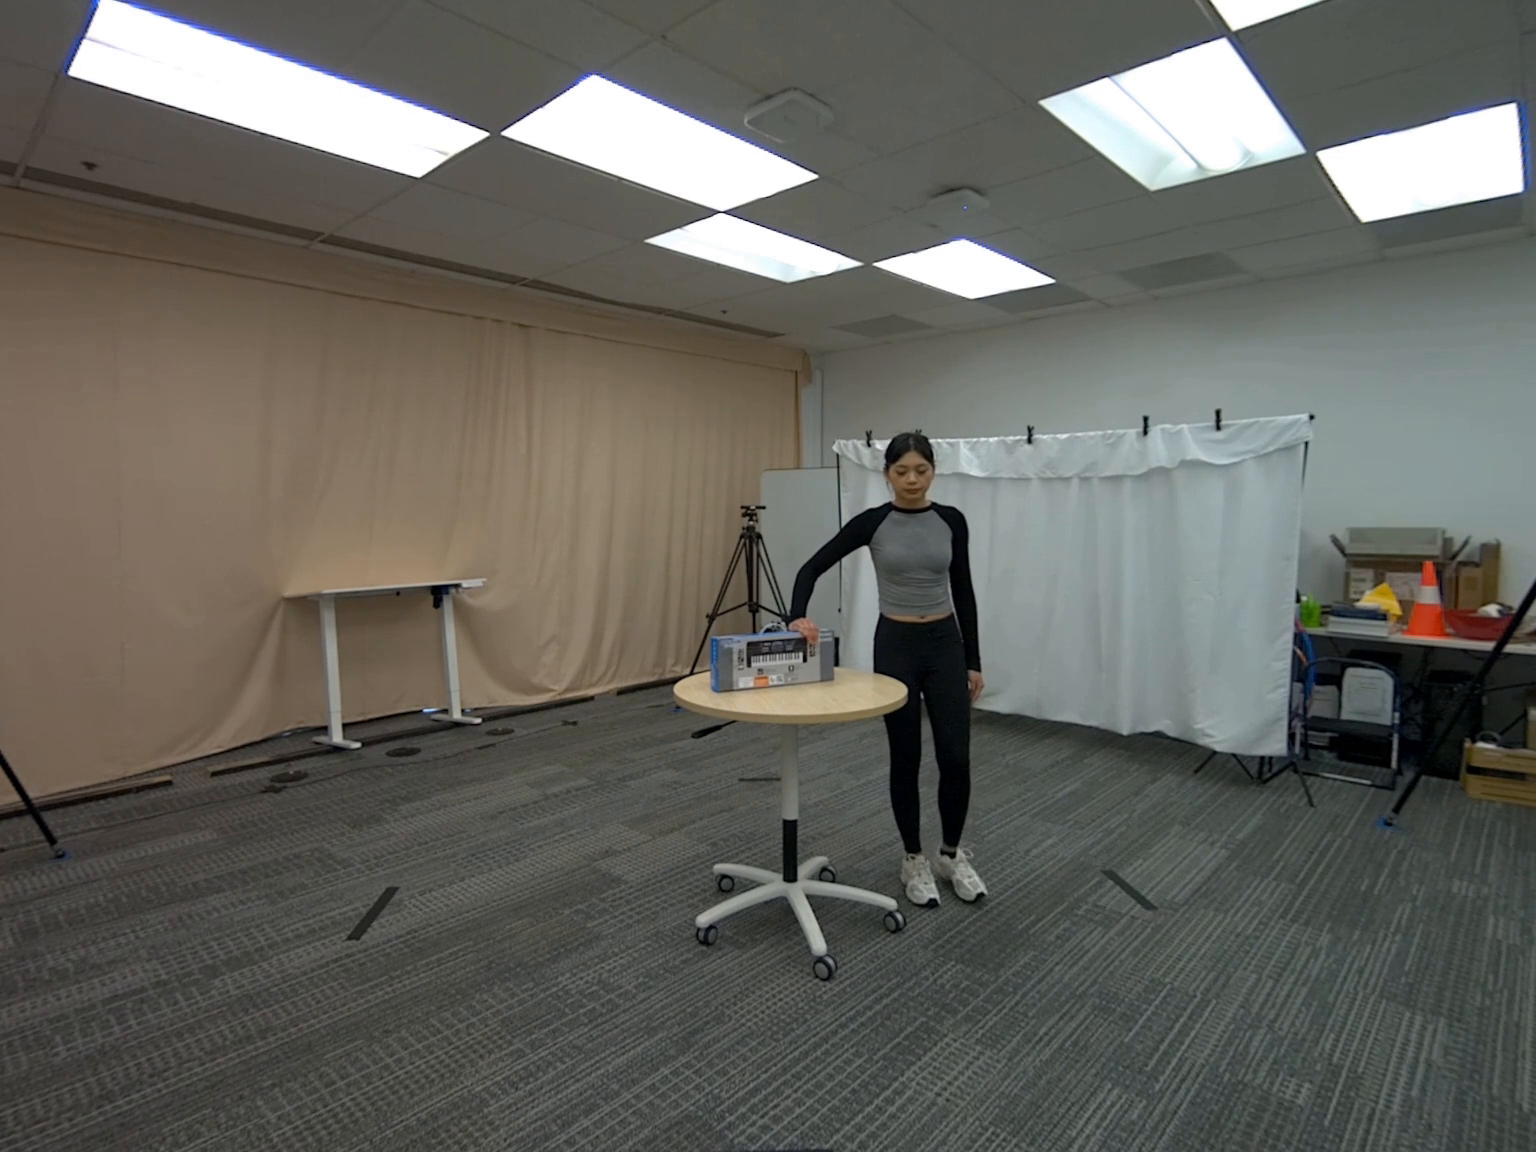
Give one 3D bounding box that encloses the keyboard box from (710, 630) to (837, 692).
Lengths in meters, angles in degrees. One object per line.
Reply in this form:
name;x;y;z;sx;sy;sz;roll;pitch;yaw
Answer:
keyboard box;0.020;0.281;2.806;0.427;0.176;0.060;-2;2;-23
